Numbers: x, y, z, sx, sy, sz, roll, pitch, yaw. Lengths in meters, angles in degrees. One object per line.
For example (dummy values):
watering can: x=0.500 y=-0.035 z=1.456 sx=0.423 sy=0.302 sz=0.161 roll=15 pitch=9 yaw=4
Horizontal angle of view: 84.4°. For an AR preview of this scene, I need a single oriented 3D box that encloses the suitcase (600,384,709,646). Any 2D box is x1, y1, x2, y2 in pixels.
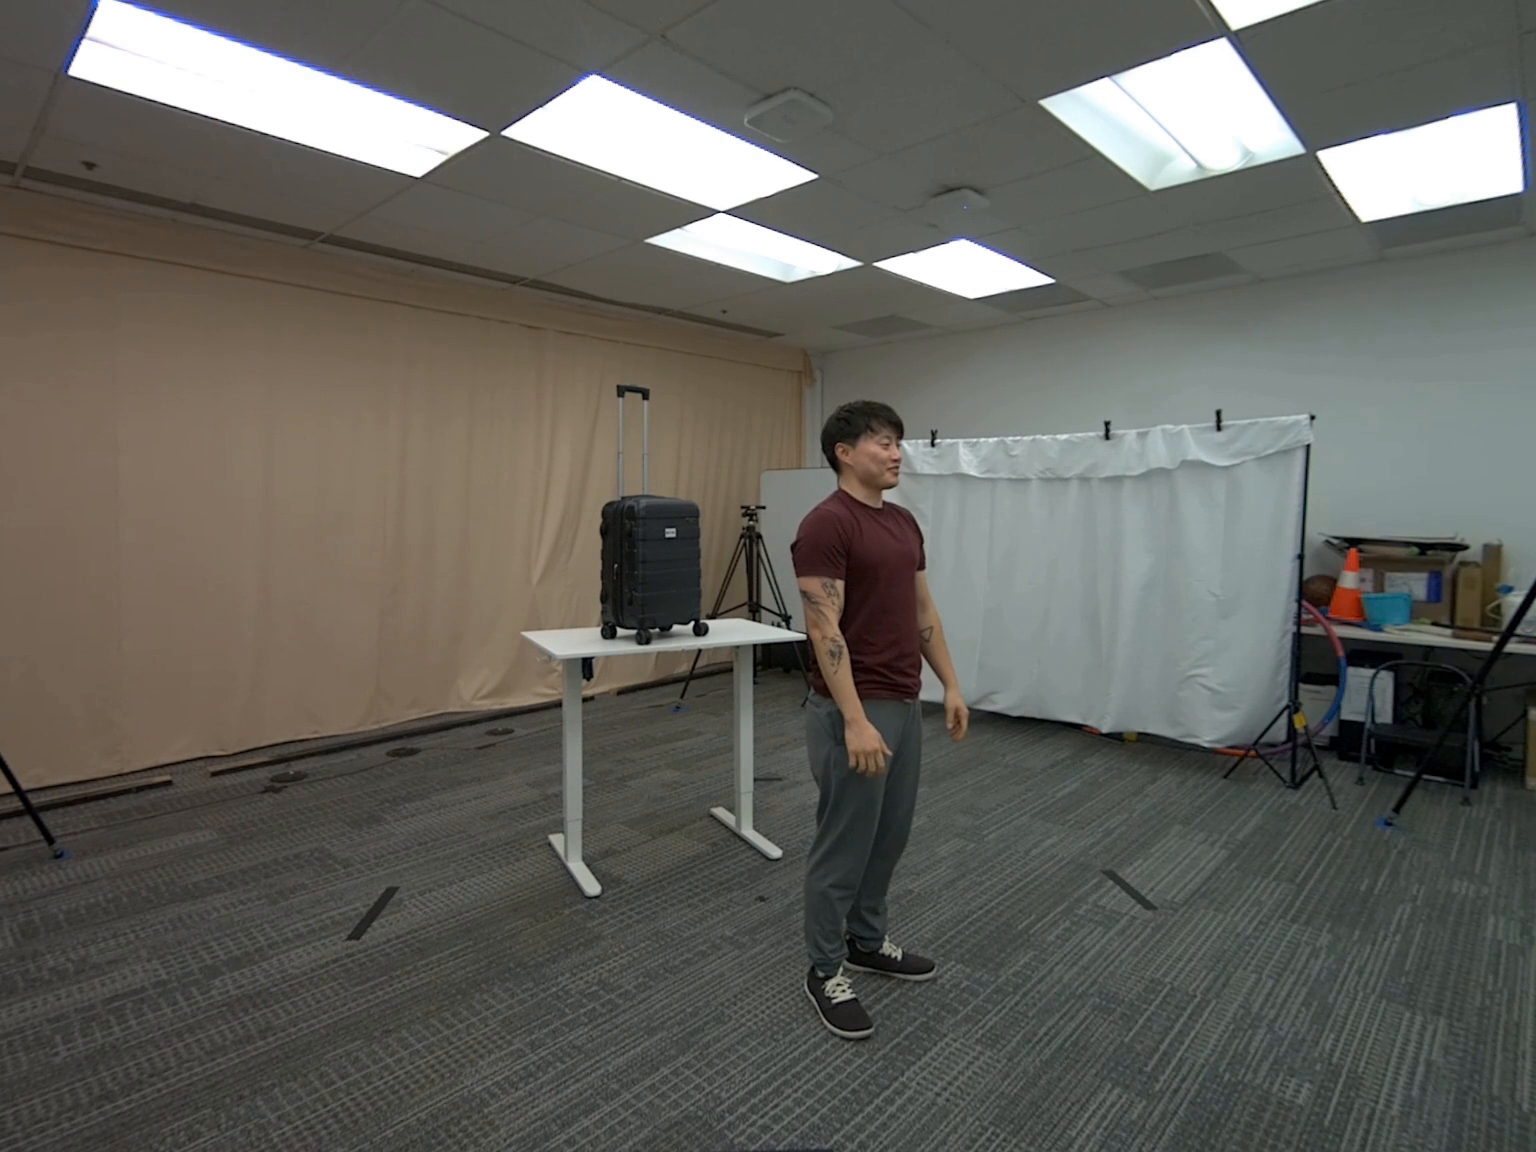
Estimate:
suitcase: x=-0.445 y=-0.242 z=3.271 sx=0.265 sy=0.976 sz=0.372 roll=3 pitch=4 yaw=42
